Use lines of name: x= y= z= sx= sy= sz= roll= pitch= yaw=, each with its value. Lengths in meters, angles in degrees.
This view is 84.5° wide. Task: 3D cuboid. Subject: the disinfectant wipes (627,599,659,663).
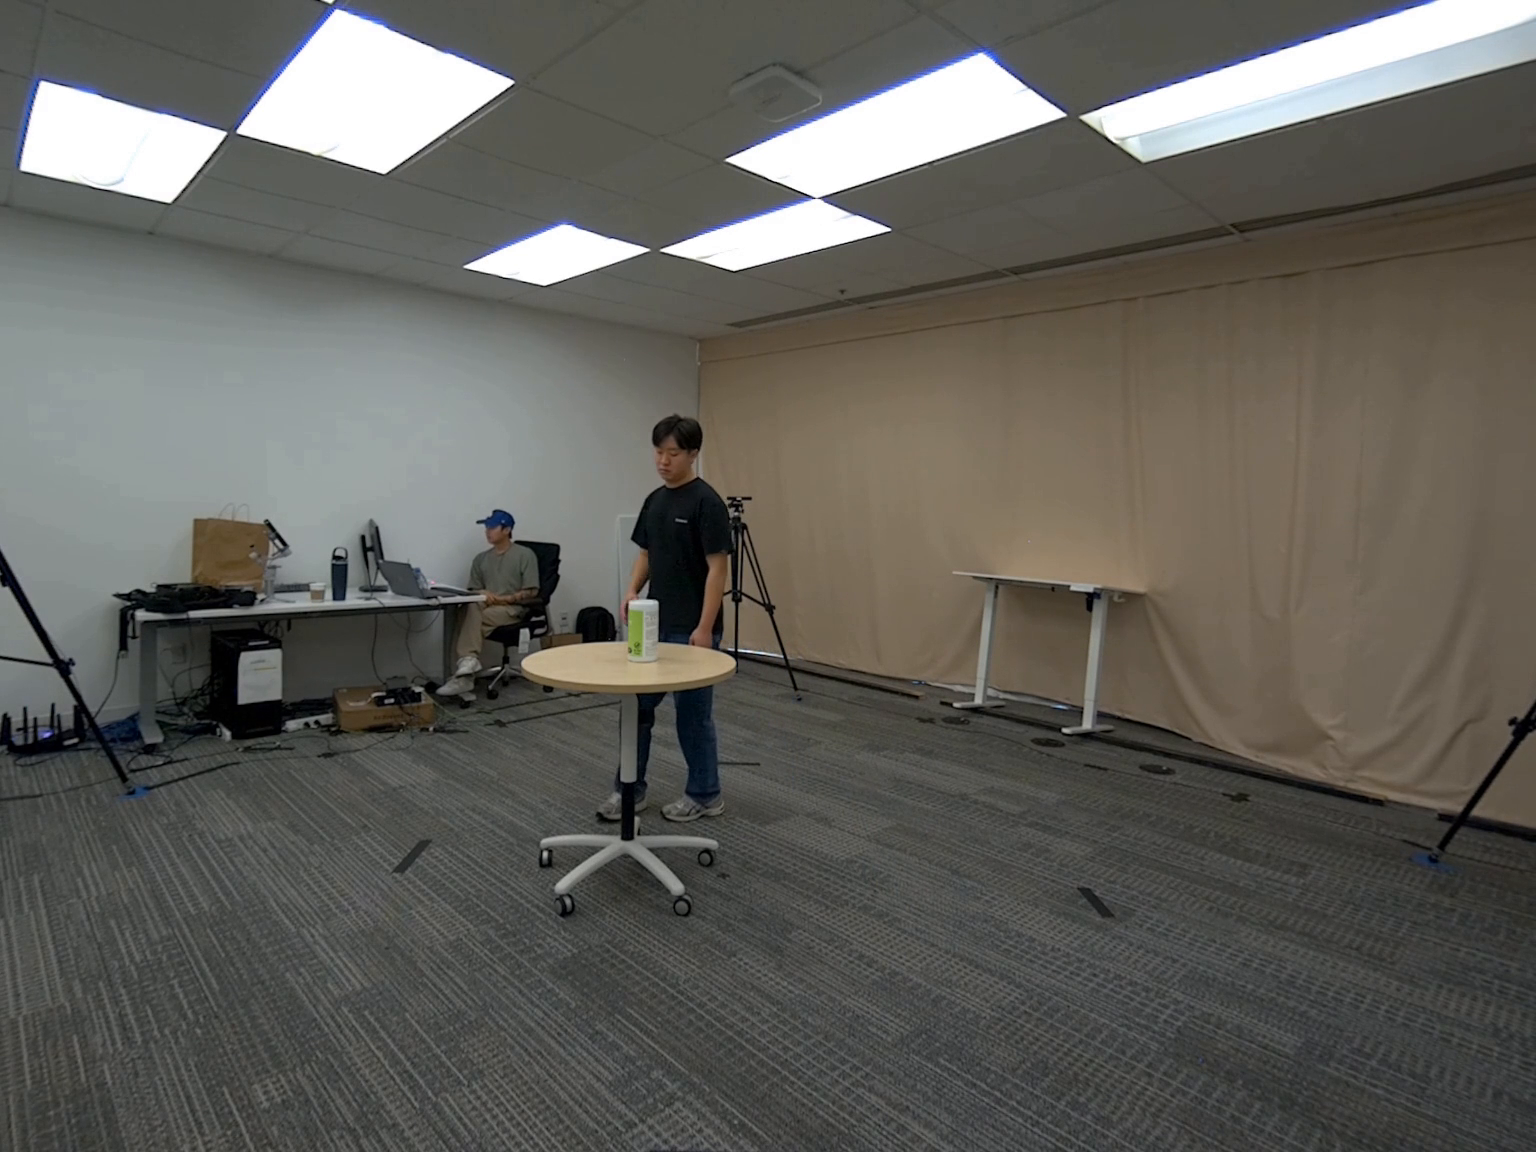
disinfectant wipes: x=-0.463 y=0.201 z=3.053 sx=0.118 sy=0.217 sz=0.118 roll=2 pitch=4 yaw=-2
